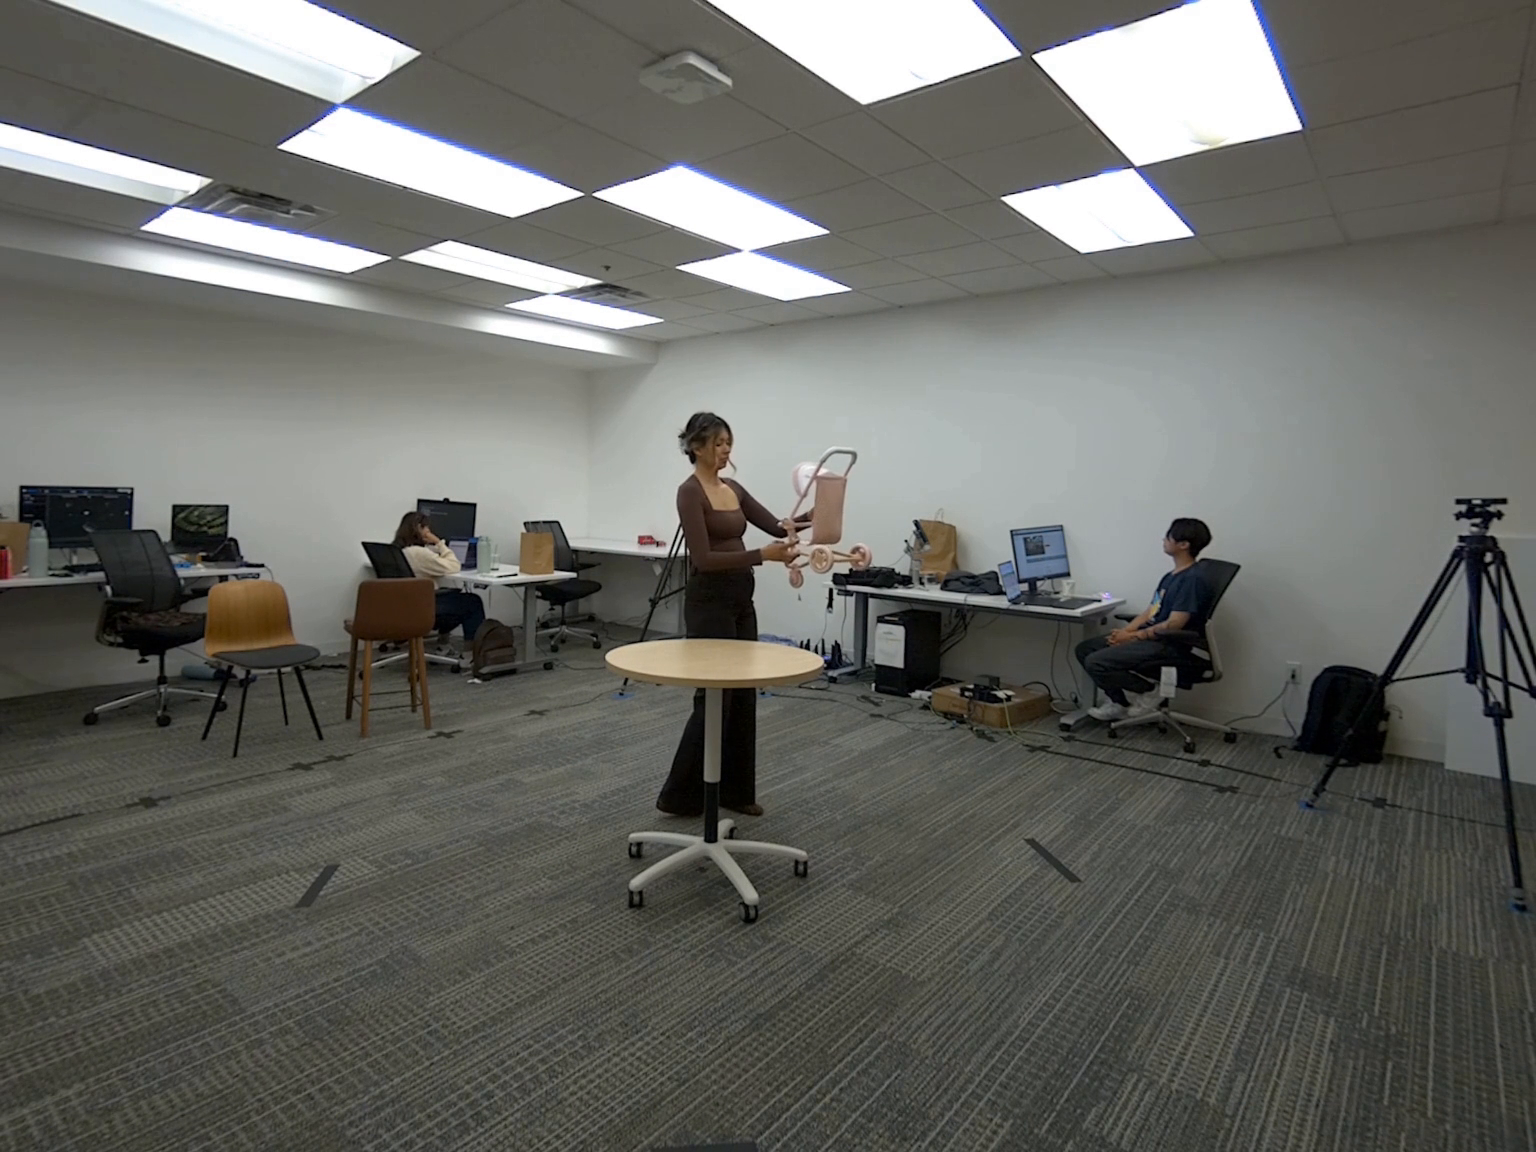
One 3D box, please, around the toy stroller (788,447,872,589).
[{"bbox_3d":[0.187,-0.224,3.400,0.273,0.536,0.351,-3,-1,-42],"label":"toy stroller"}]
